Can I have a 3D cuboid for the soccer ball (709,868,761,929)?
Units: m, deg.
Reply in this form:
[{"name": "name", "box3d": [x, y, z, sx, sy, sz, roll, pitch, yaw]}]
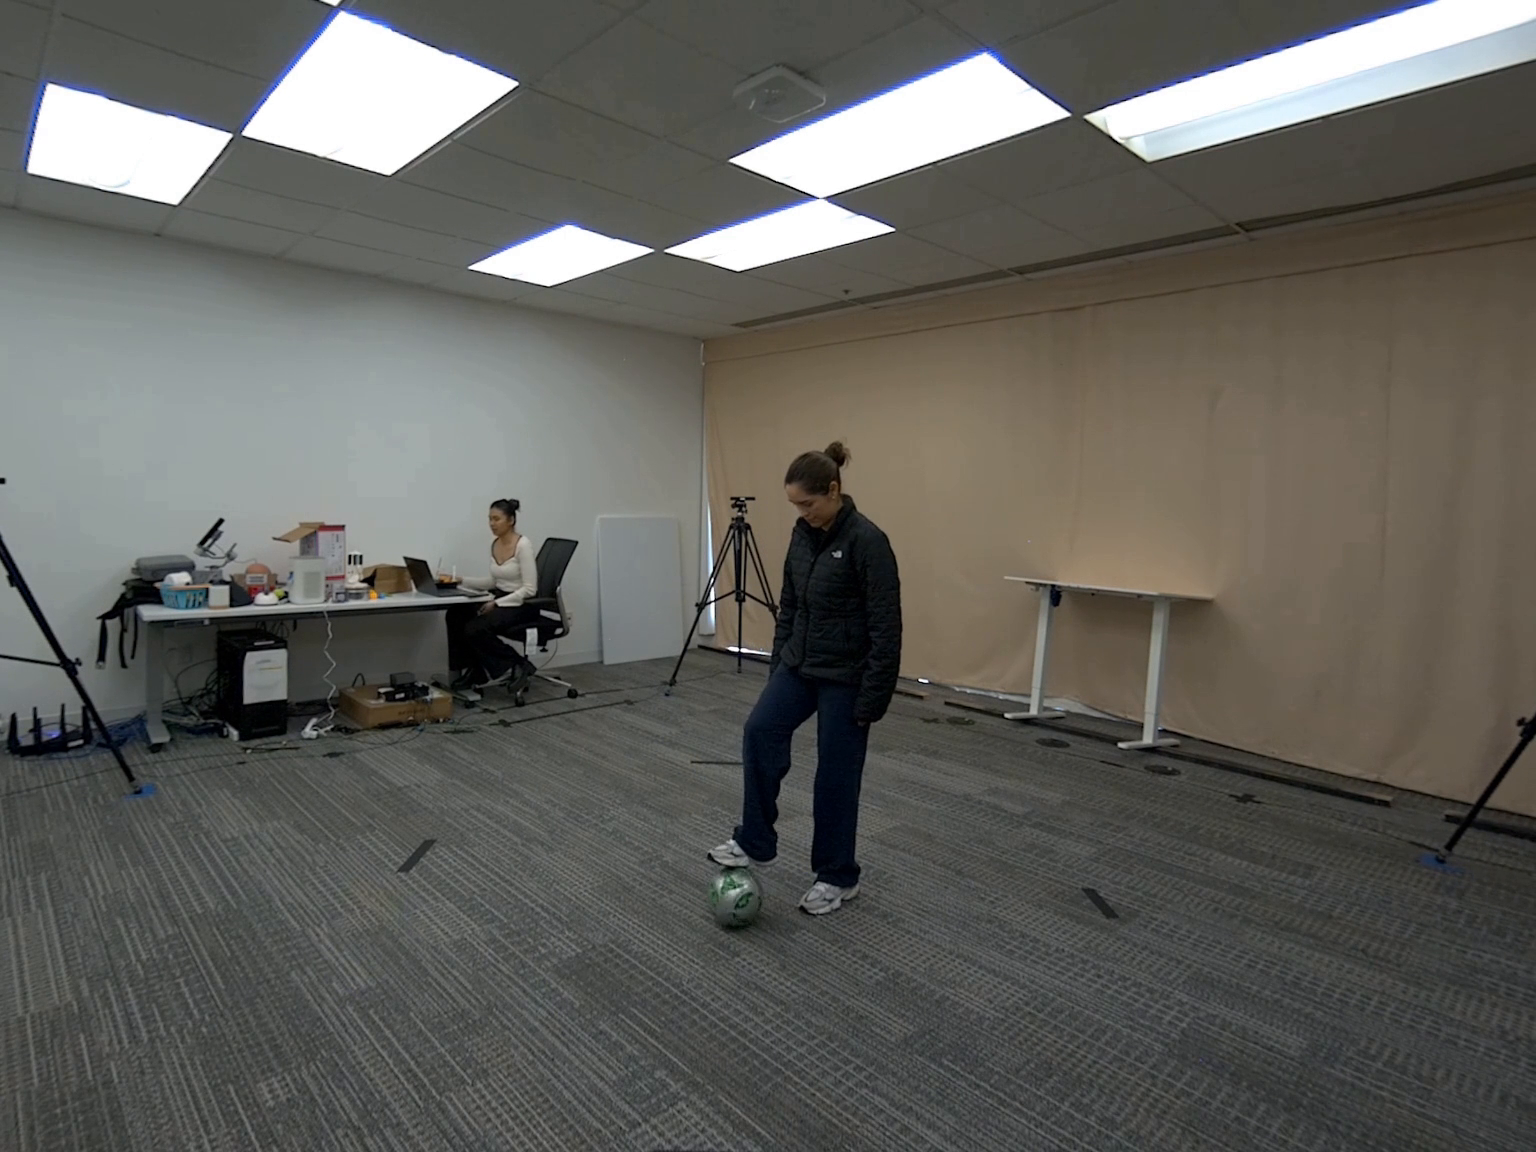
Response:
[{"name": "soccer ball", "box3d": [-0.110, 1.045, 2.760, 0.187, 0.187, 0.188, 1, 4, -1]}]
